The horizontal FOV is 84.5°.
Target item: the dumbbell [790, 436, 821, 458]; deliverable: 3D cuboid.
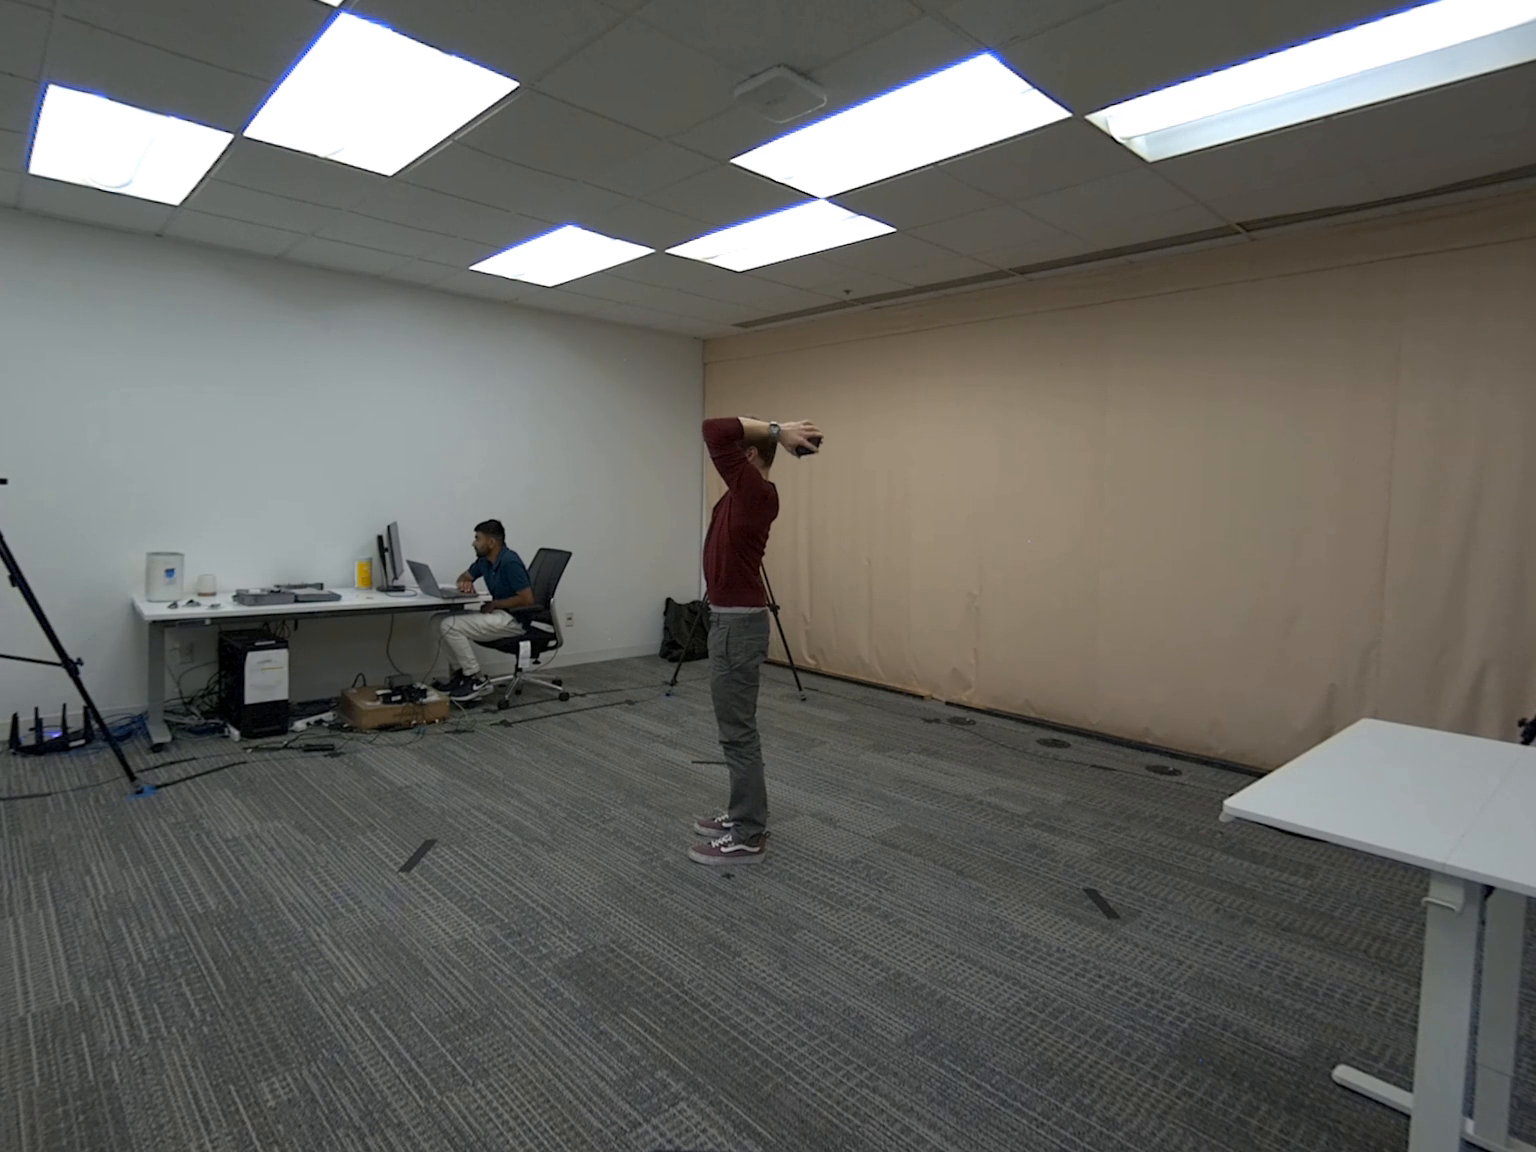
[{"bbox_3d":[0.122,-0.539,3.259,0.109,0.122,0.294,29,9,-2],"label":"dumbbell"}]
